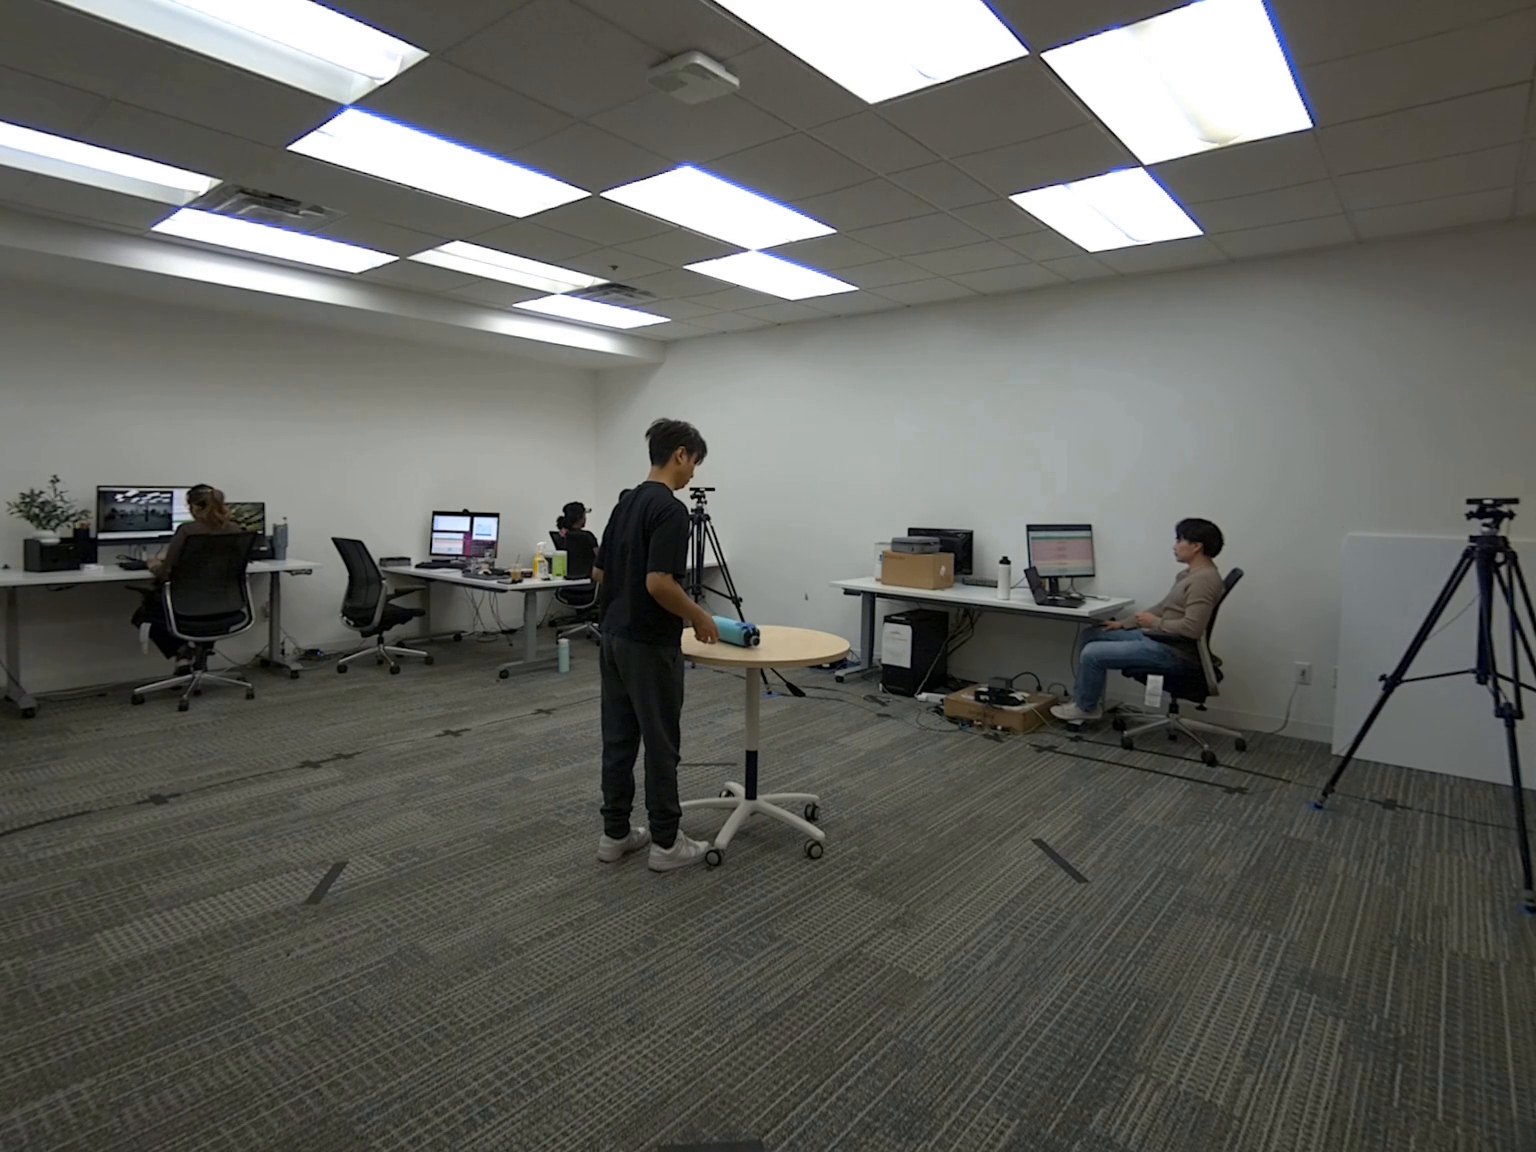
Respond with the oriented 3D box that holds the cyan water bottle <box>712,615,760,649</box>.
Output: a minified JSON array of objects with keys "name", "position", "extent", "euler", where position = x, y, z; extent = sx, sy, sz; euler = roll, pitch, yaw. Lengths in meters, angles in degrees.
[{"name":"cyan water bottle","position":[-0.144,0.216,3.346],"extent":[0.089,0.092,0.293],"euler":[-2,6,-36]}]
